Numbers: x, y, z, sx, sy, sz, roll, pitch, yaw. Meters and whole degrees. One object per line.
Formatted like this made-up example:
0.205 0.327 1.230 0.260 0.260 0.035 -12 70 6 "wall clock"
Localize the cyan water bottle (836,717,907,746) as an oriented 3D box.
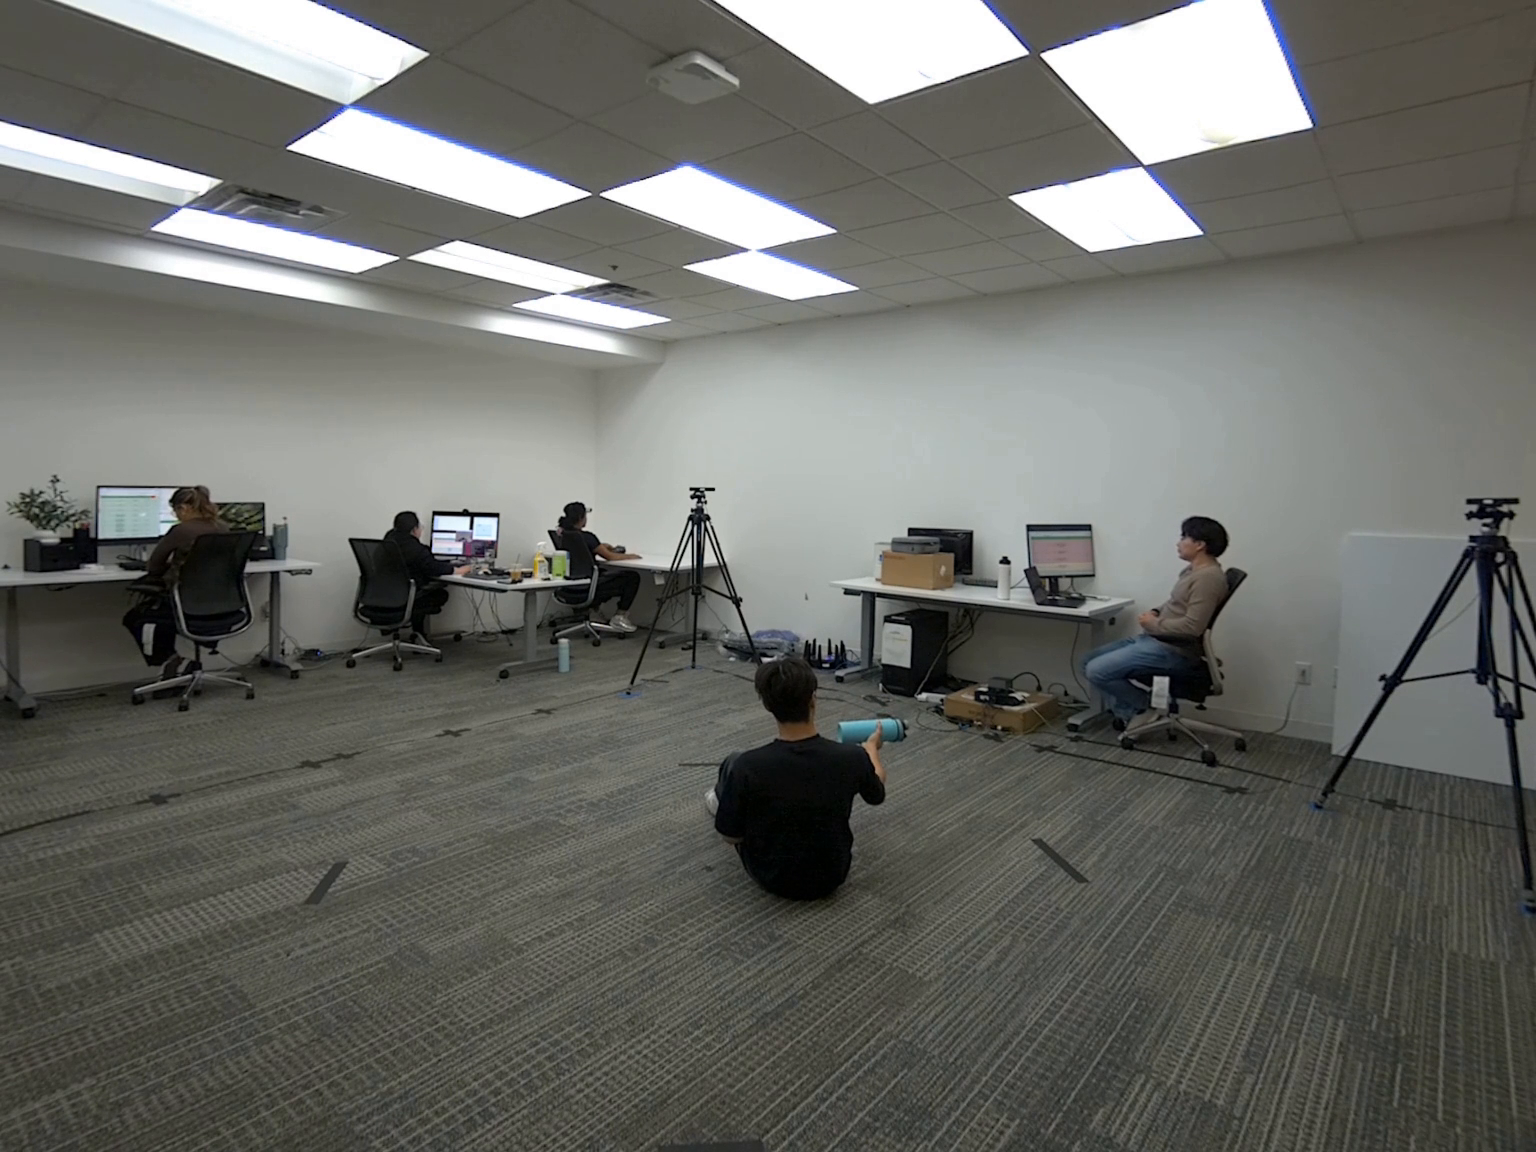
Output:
0.419 0.618 3.419 0.281 0.092 0.093 -3 5 -8 "cyan water bottle"
